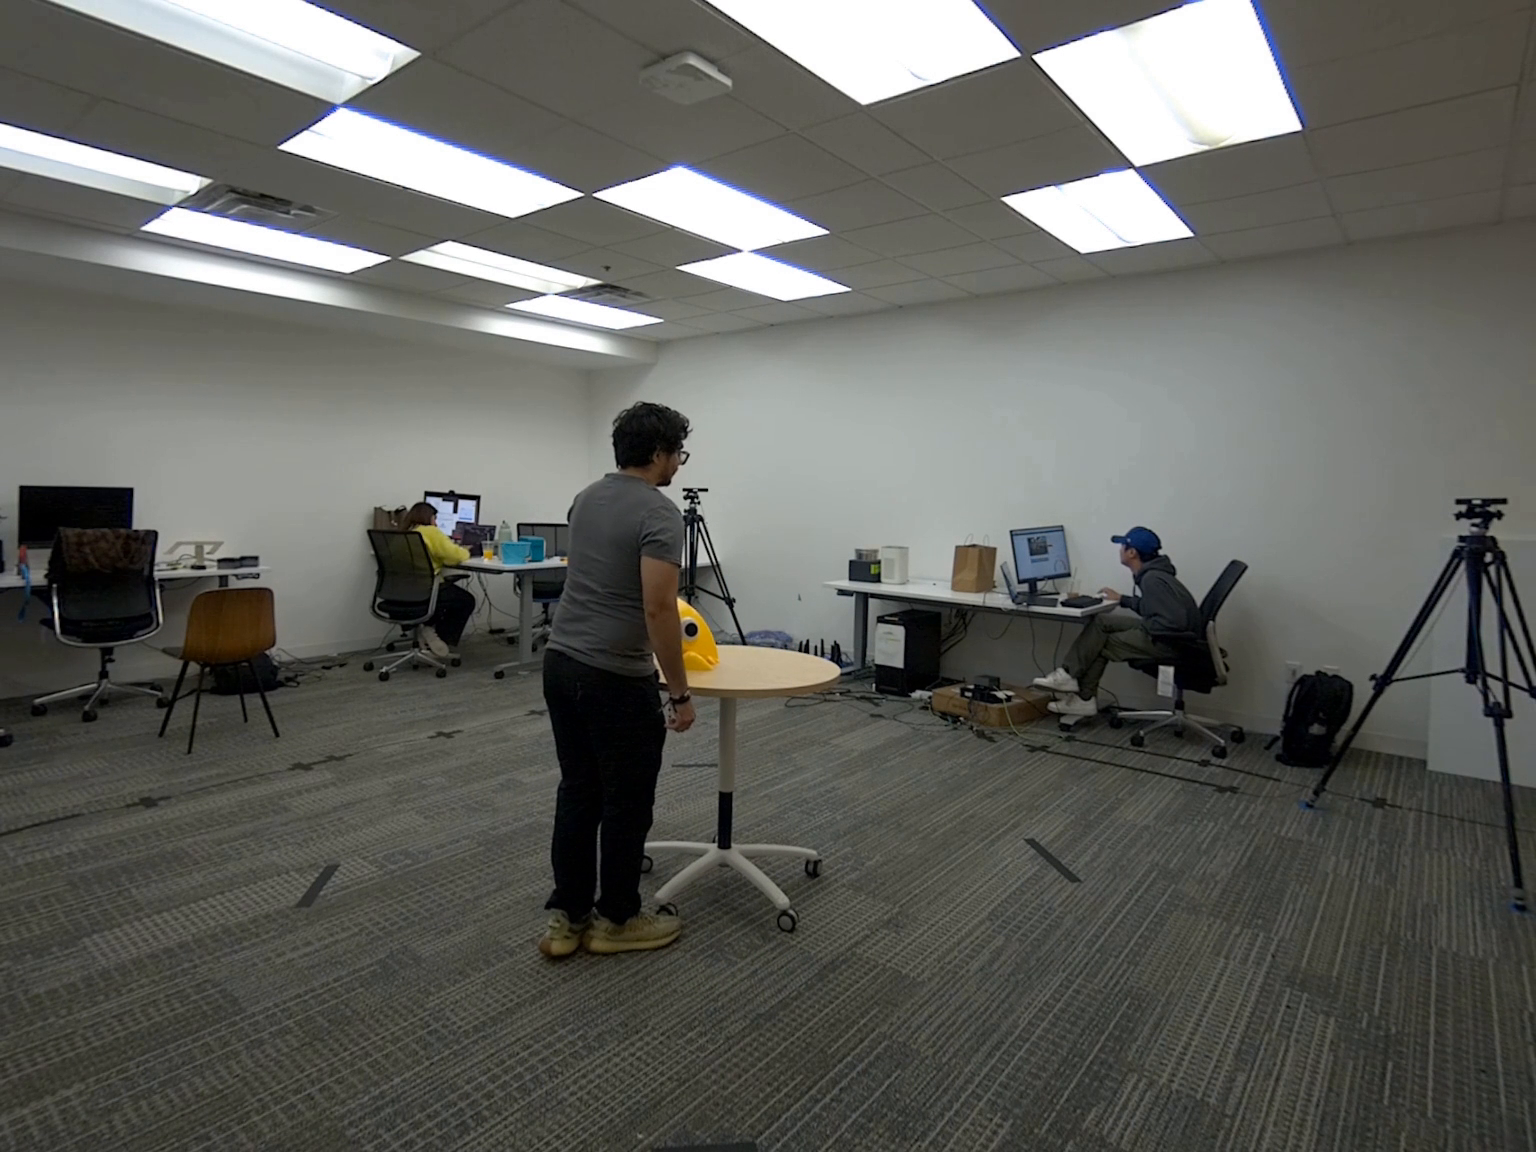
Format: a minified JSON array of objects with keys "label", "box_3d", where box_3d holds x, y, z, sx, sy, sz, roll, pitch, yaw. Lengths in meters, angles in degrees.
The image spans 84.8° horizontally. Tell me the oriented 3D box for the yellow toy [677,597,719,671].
[{"label":"yellow toy","box_3d":[-0.269,0.187,2.927,0.195,0.230,0.203,1,3,8]}]
